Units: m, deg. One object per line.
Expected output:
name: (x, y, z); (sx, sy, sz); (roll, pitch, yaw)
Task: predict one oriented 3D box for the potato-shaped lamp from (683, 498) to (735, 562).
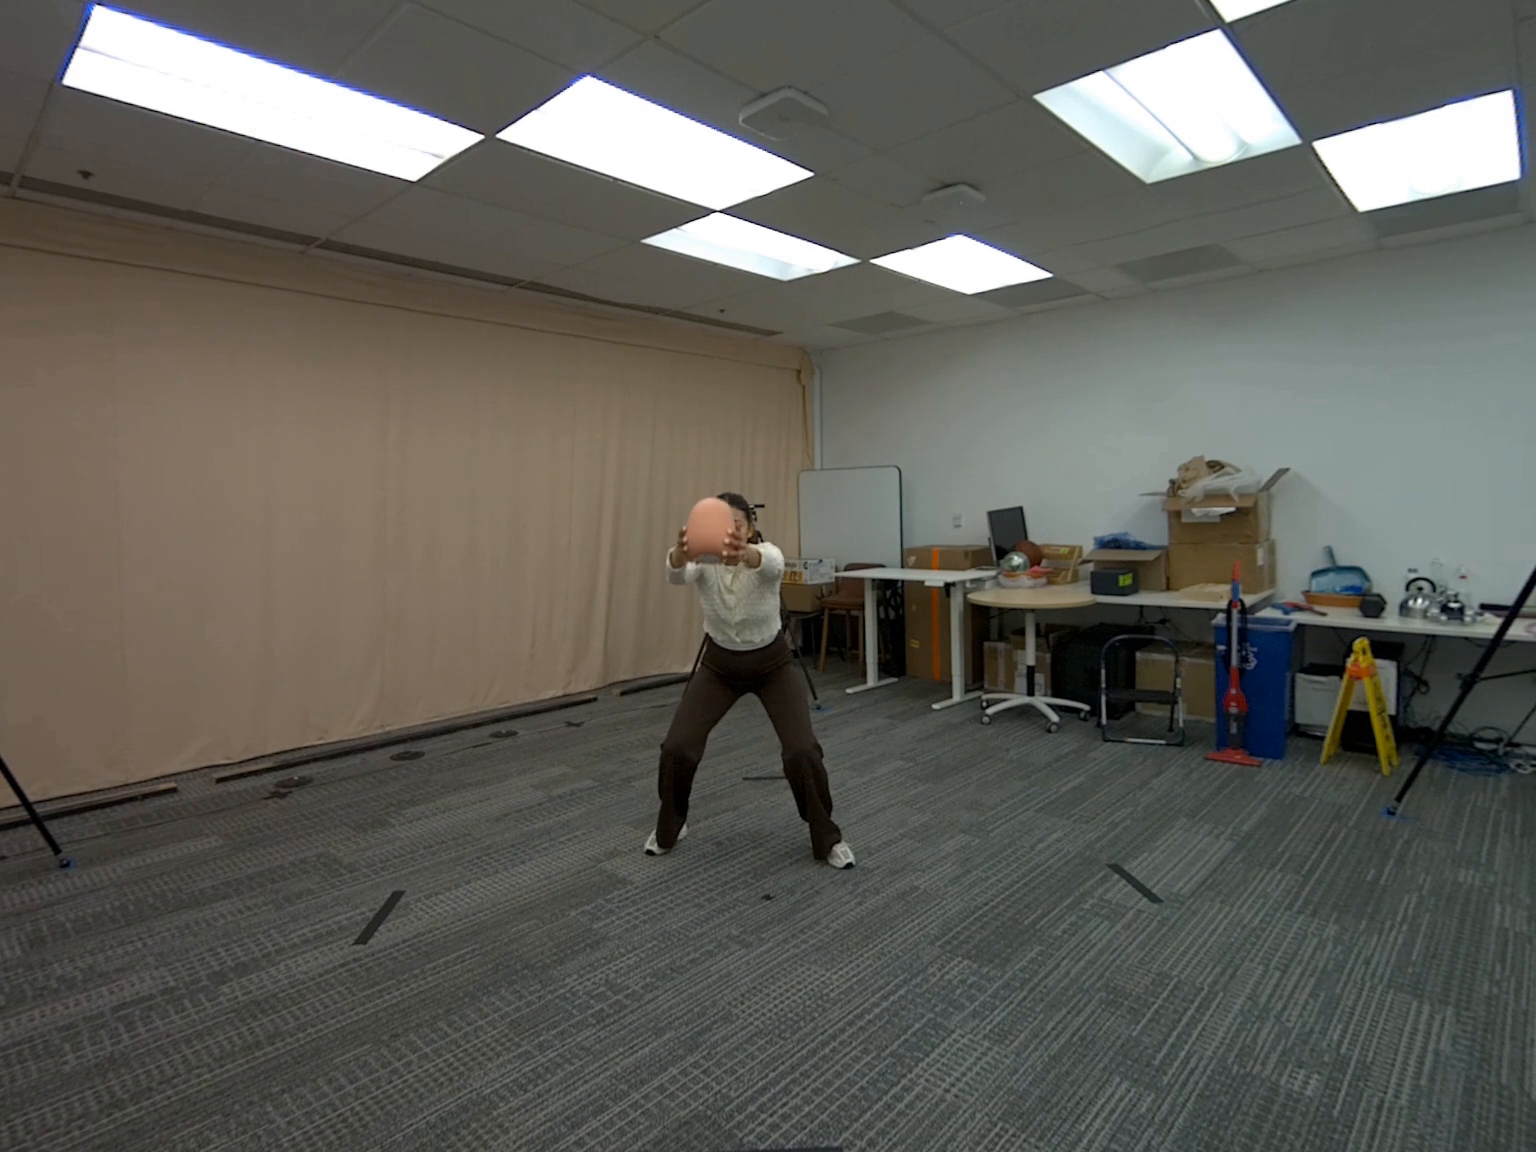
potato-shaped lamp: (-0.178, -0.146, 2.629); (0.168, 0.200, 0.166); (-1, -21, 19)
